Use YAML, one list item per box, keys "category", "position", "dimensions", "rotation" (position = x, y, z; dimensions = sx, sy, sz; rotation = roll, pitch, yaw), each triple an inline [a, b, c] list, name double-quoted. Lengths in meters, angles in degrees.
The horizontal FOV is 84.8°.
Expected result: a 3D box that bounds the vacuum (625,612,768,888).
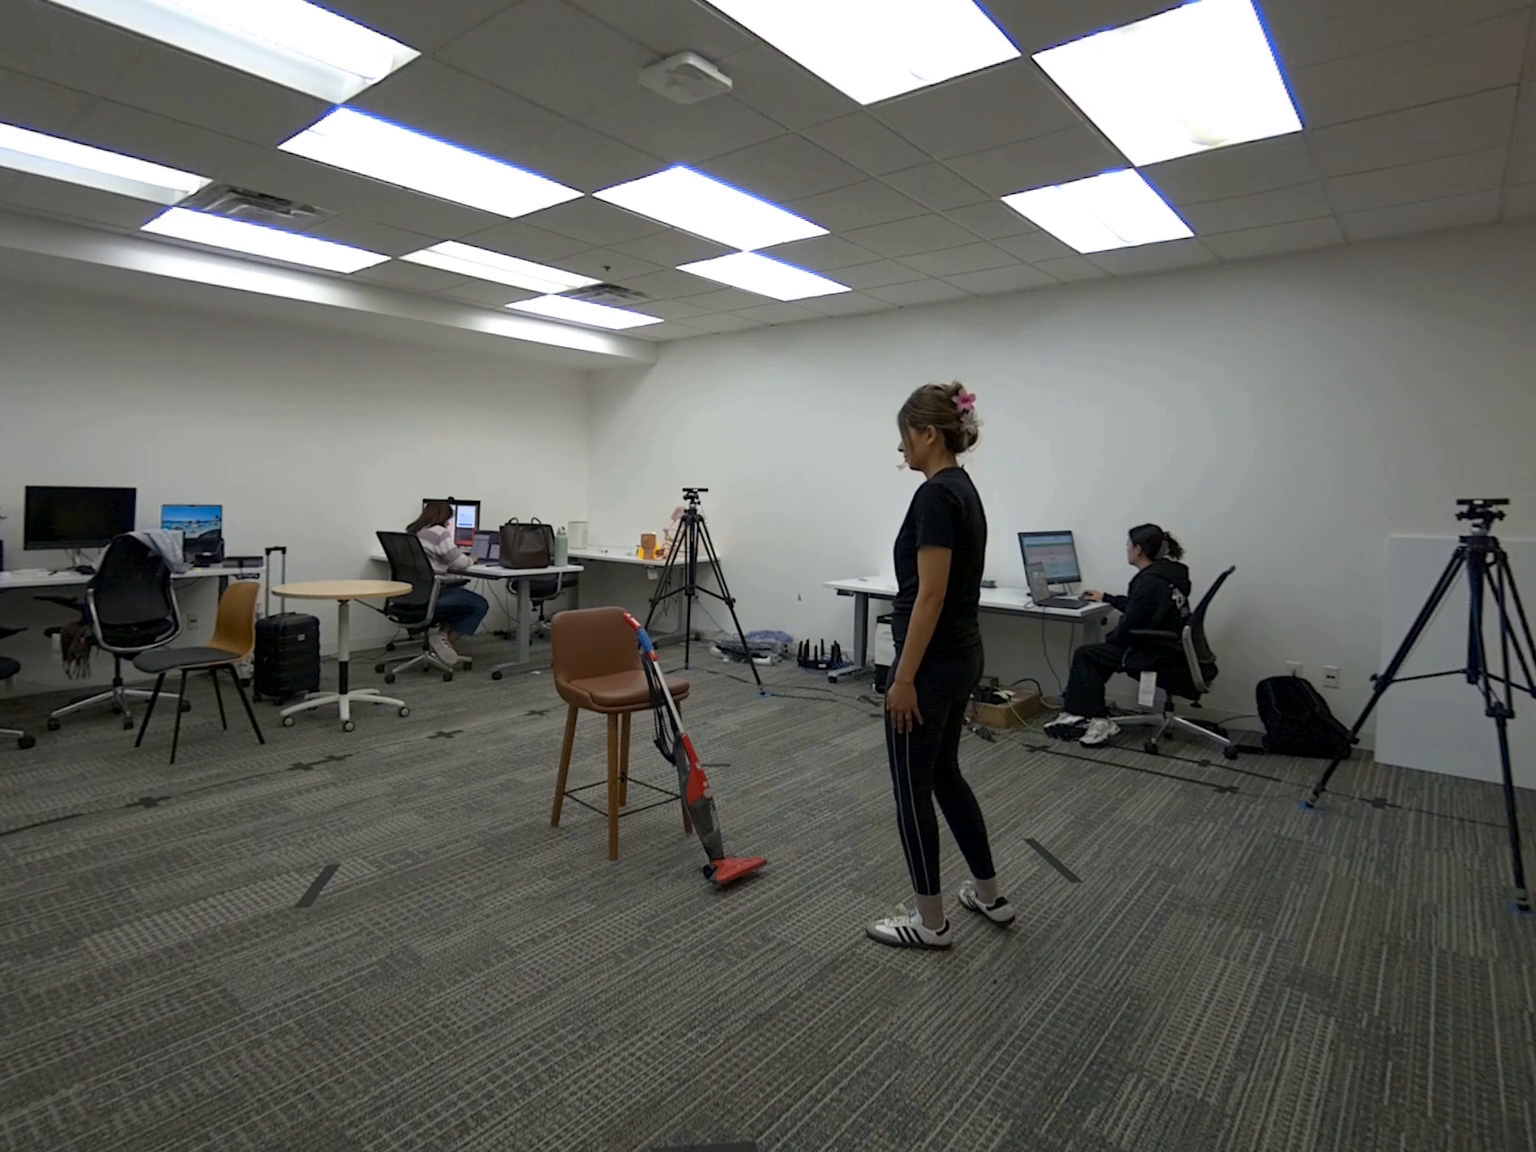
- category: "vacuum"
  position: [-0.353, 0.613, 3.219]
  dimensions: [0.145, 1.077, 0.245]
  rotation: [-40, -24, 32]
